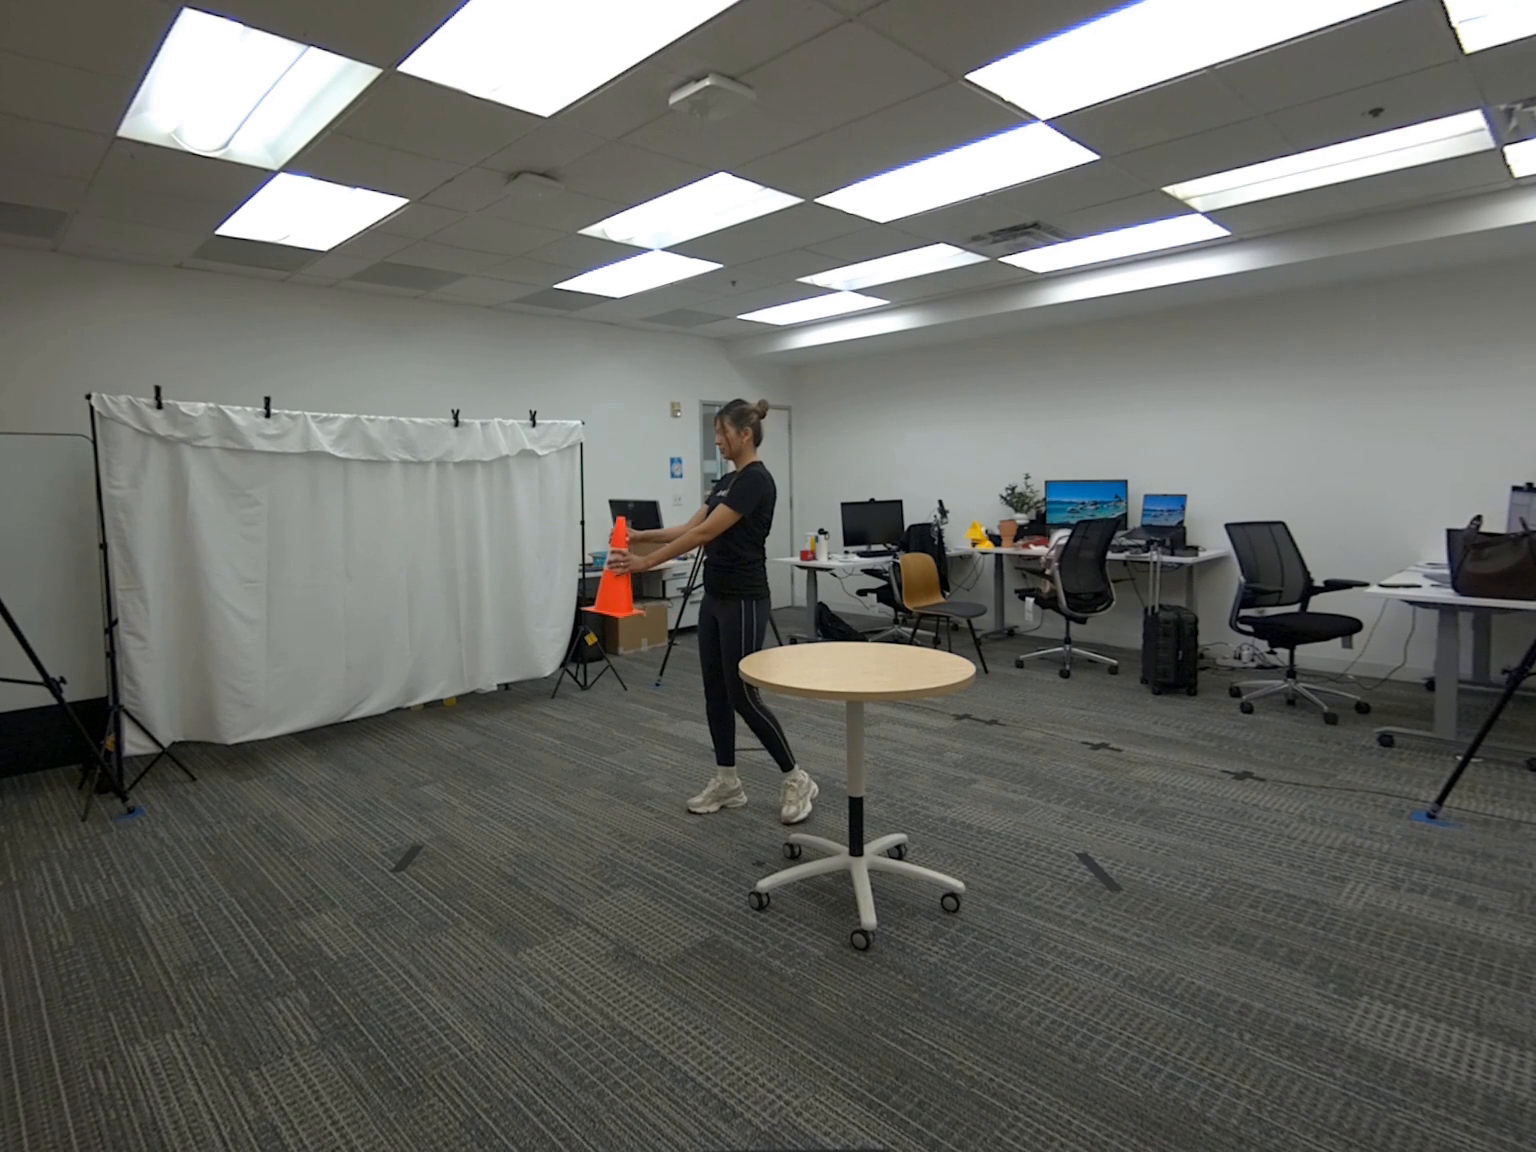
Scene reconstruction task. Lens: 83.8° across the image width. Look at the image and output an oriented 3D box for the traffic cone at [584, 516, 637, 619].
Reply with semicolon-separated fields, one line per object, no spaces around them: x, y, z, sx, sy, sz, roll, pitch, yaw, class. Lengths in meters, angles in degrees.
-0.606;-0.047;3.439;0.209;0.382;0.200;8;6;29;traffic cone
